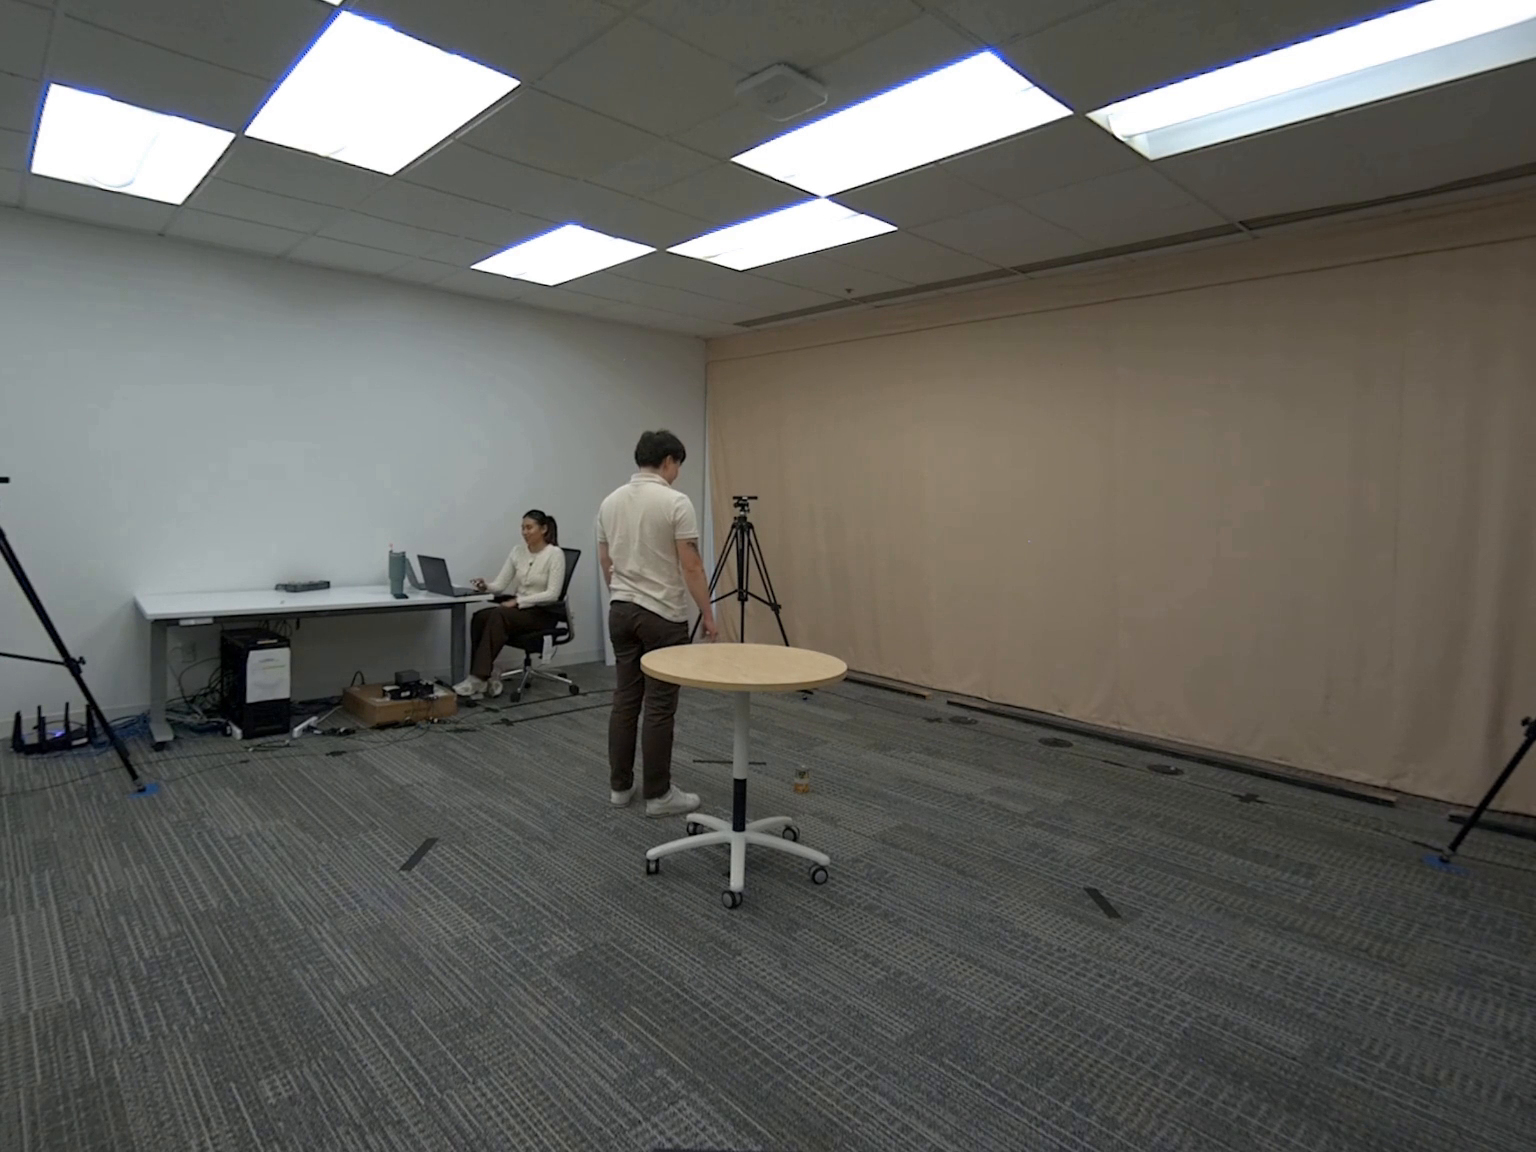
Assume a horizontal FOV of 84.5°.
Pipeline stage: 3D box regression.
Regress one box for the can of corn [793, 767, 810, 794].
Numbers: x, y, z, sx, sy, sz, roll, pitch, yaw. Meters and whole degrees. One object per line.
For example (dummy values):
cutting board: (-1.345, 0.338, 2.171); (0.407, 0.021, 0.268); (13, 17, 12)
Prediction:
can of corn: (0.148, 0.971, 4.048); (0.074, 0.111, 0.074); (-1, -1, -1)
